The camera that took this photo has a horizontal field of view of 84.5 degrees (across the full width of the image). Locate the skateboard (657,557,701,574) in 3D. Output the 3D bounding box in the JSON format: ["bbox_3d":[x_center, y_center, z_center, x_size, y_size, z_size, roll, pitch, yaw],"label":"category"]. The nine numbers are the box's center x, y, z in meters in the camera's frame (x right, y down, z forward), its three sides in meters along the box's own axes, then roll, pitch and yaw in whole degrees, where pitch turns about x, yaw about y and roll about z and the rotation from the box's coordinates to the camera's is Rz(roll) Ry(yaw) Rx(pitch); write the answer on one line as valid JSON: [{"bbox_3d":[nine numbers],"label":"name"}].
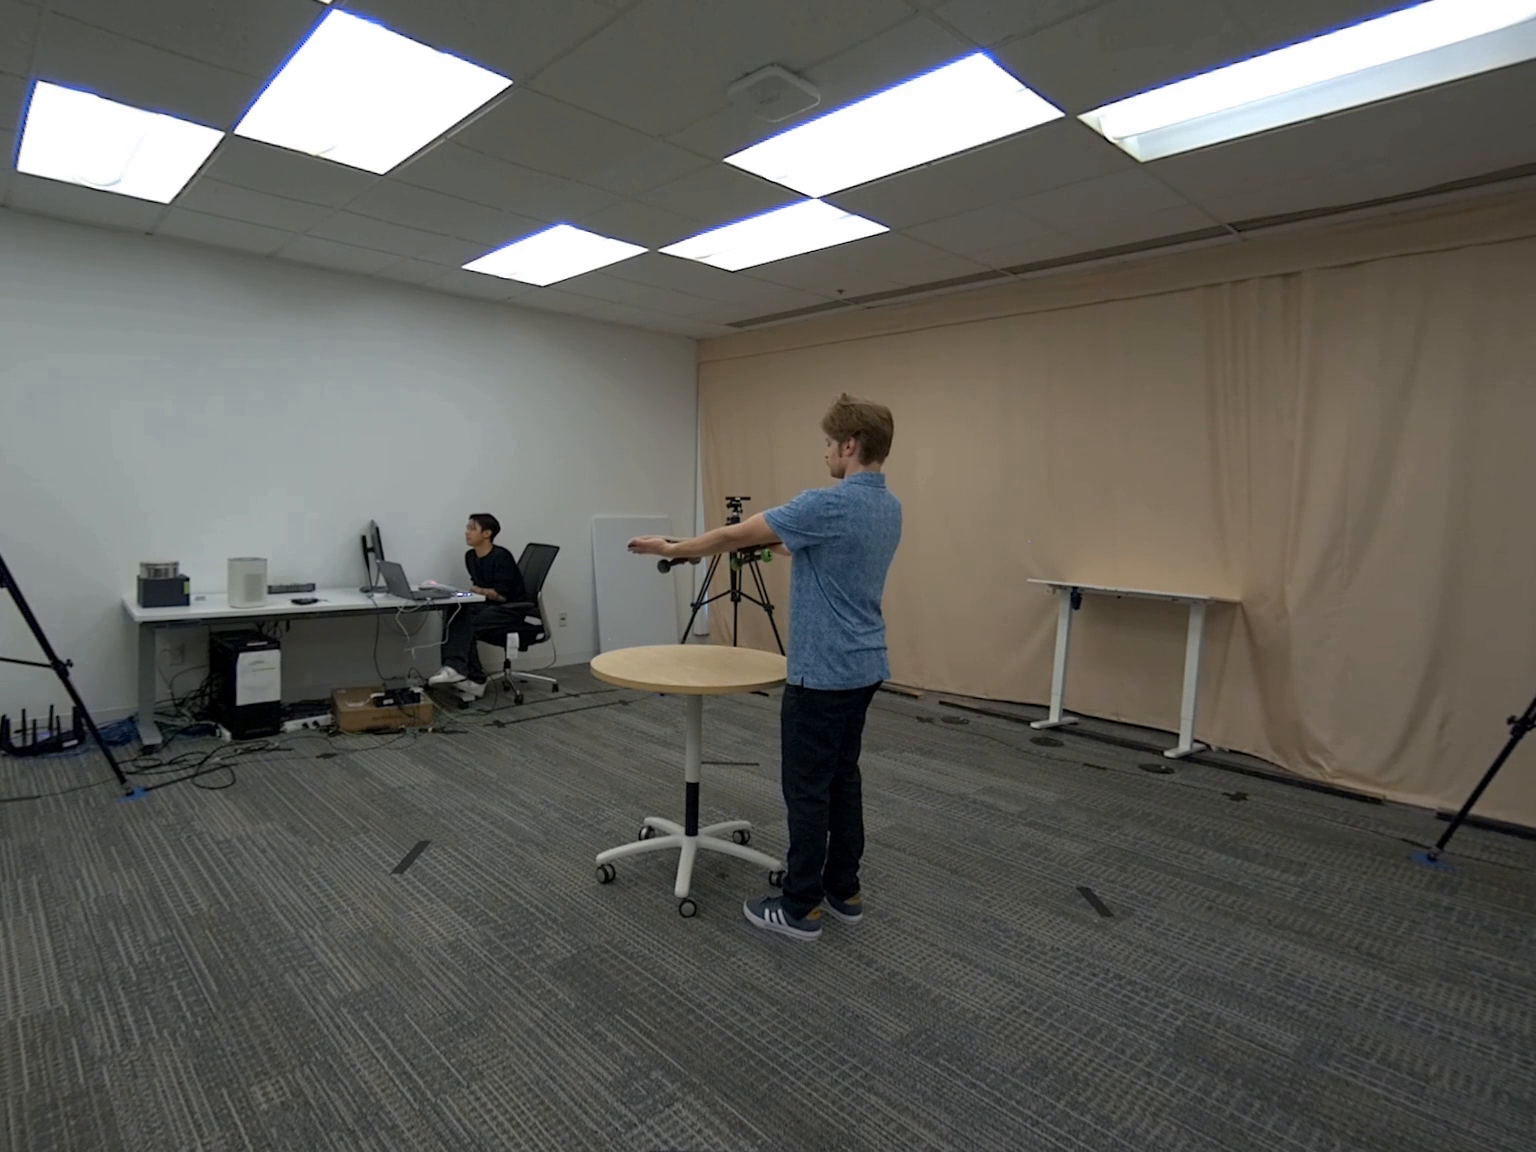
[{"bbox_3d":[-0.200,-0.082,3.088,0.196,0.111,0.768,-16,-8,39],"label":"skateboard"}]
